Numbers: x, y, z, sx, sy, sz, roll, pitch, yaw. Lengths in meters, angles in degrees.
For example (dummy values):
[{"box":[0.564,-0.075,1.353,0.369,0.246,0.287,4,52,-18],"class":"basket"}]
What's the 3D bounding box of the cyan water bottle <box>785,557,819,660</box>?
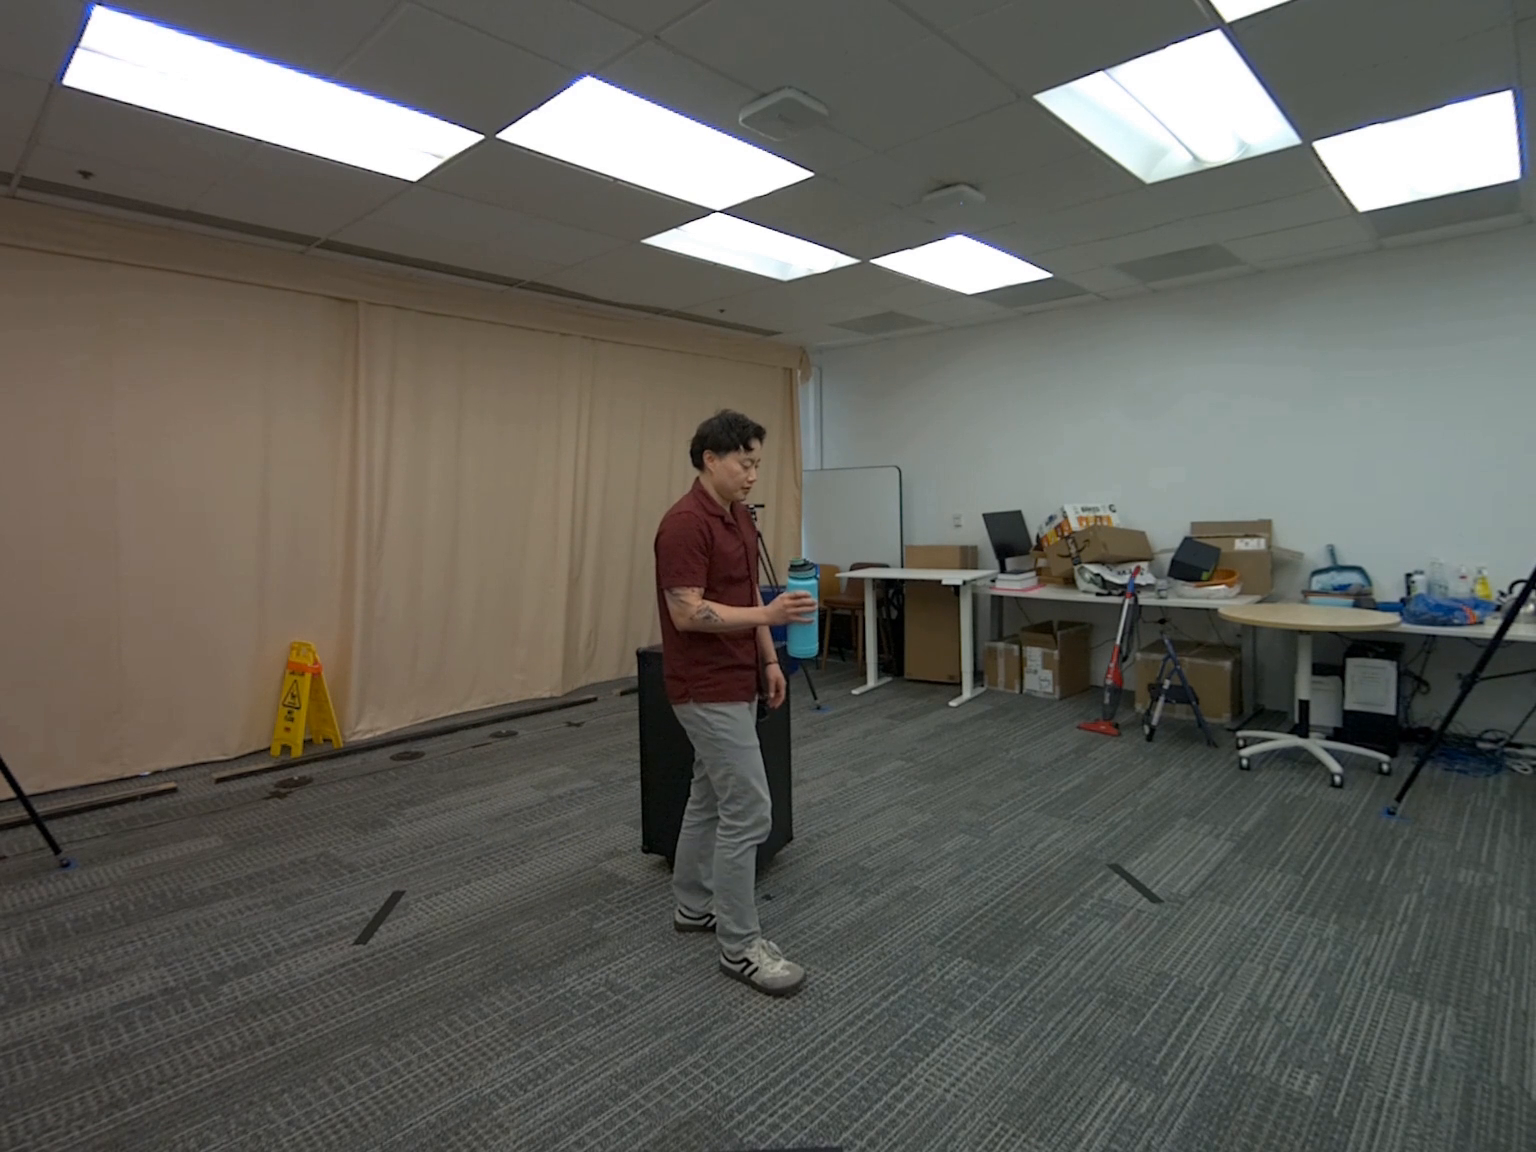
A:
[{"box":[0.105,0.085,2.390,0.092,0.281,0.093,2,11,-2],"class":"cyan water bottle"}]
